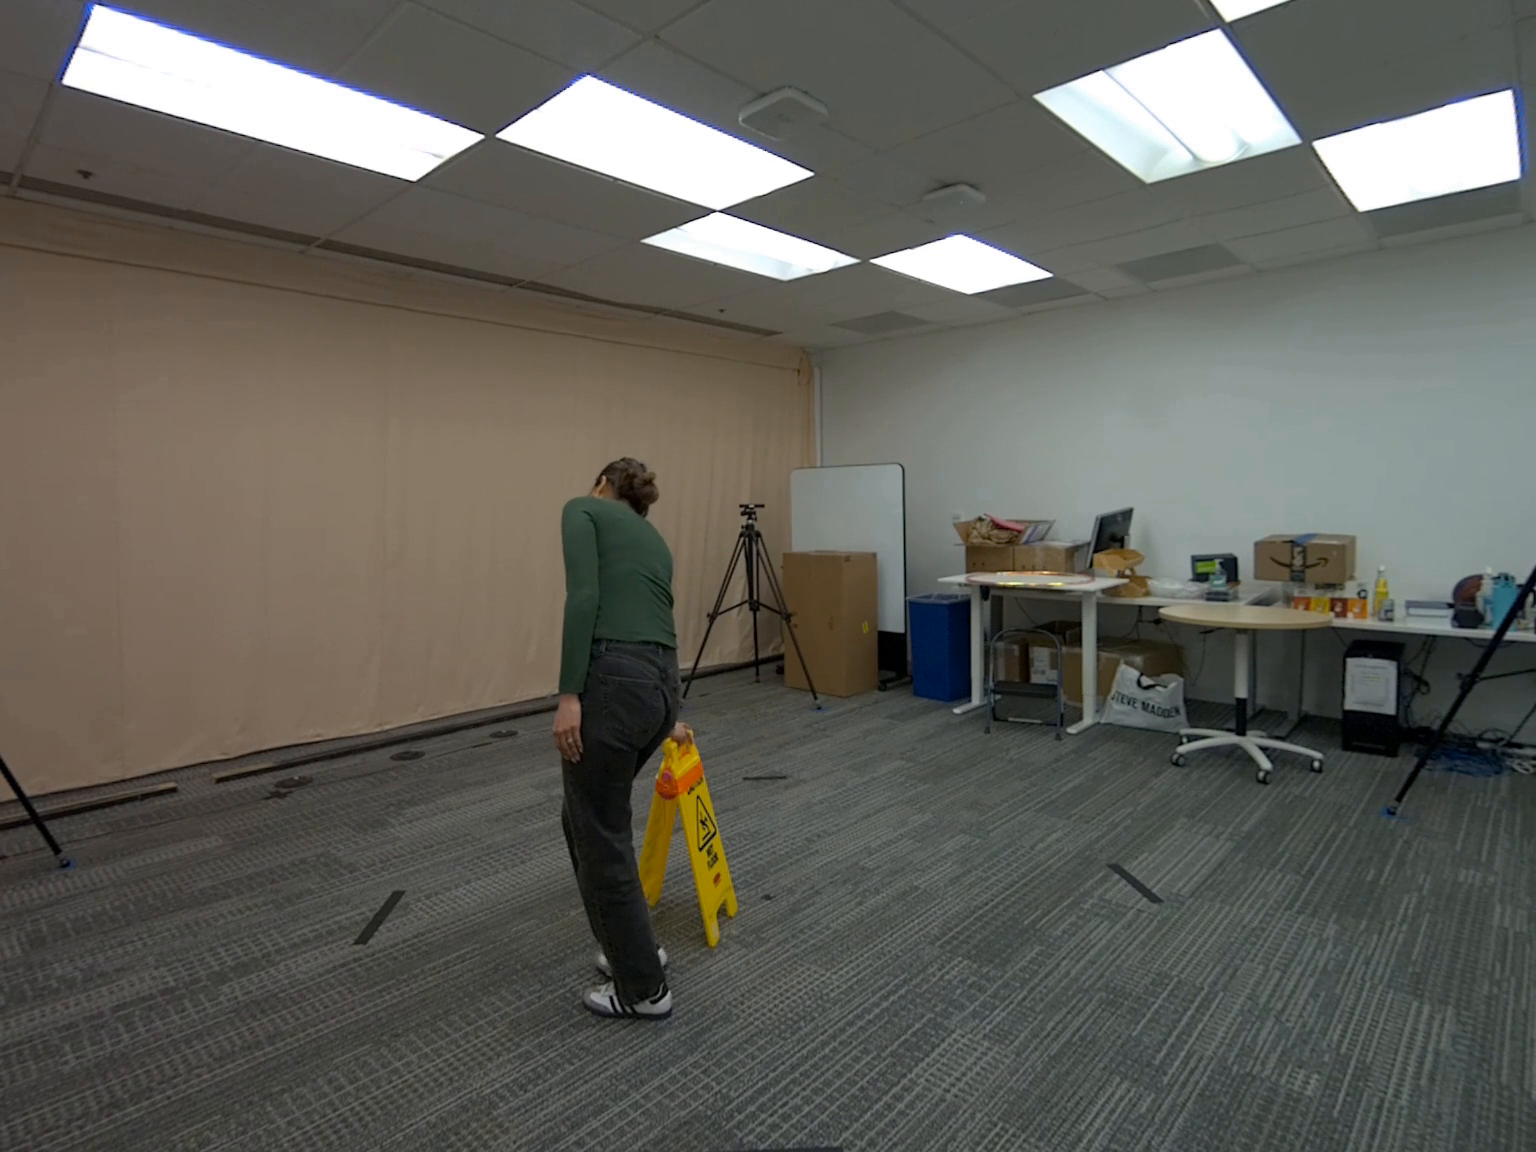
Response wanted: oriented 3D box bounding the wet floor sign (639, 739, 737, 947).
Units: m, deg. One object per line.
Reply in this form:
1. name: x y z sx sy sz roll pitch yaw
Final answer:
1. wet floor sign: -0.285 0.839 2.802 0.295 0.644 0.278 1 5 17
